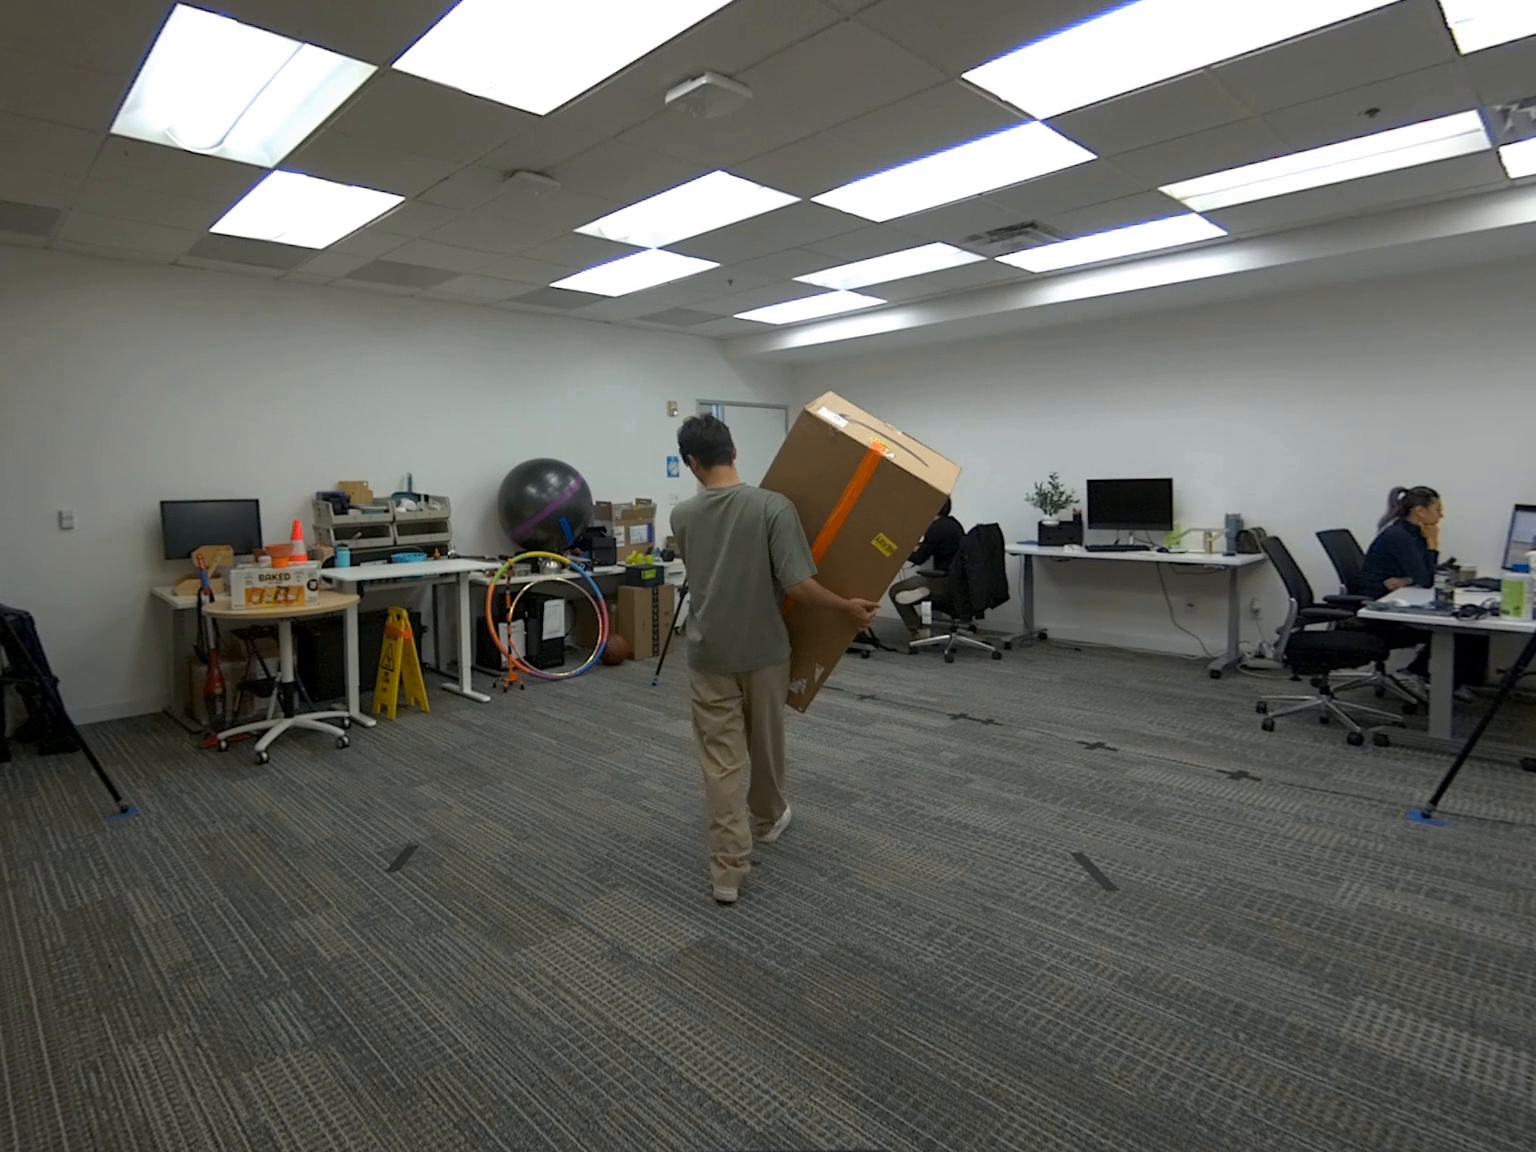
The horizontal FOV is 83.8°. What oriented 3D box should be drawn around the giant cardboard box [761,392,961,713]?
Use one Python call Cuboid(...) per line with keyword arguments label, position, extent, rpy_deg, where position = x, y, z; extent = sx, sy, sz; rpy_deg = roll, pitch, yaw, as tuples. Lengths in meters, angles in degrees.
Cuboid(label="giant cardboard box", position=(0.187, -0.094, 3.248), extent=(0.583, 1.018, 0.425), rpy_deg=(33, 25, 6))
